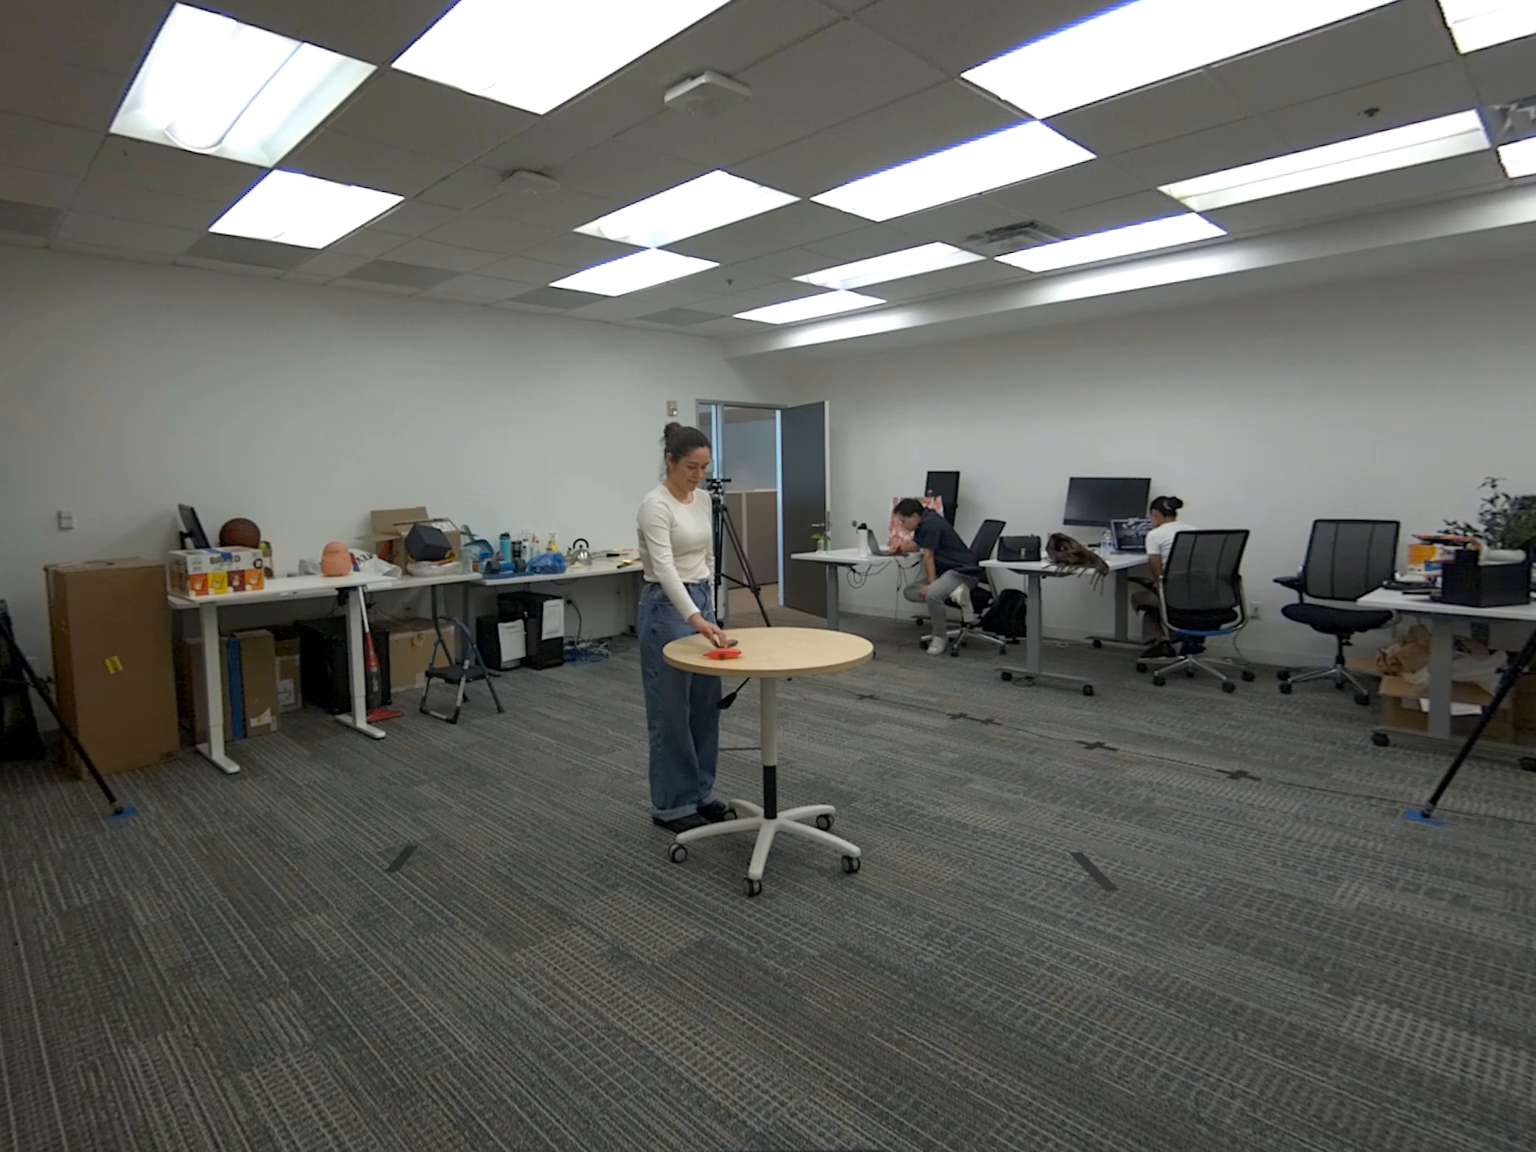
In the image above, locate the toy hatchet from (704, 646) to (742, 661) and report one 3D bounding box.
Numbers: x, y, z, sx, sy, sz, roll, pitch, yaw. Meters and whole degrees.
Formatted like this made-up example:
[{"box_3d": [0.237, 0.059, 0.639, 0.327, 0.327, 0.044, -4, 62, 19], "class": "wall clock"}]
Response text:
[{"box_3d": [-0.134, 0.259, 3.035, 0.133, 0.029, 0.266, -5, 5, 19], "class": "toy hatchet"}]
